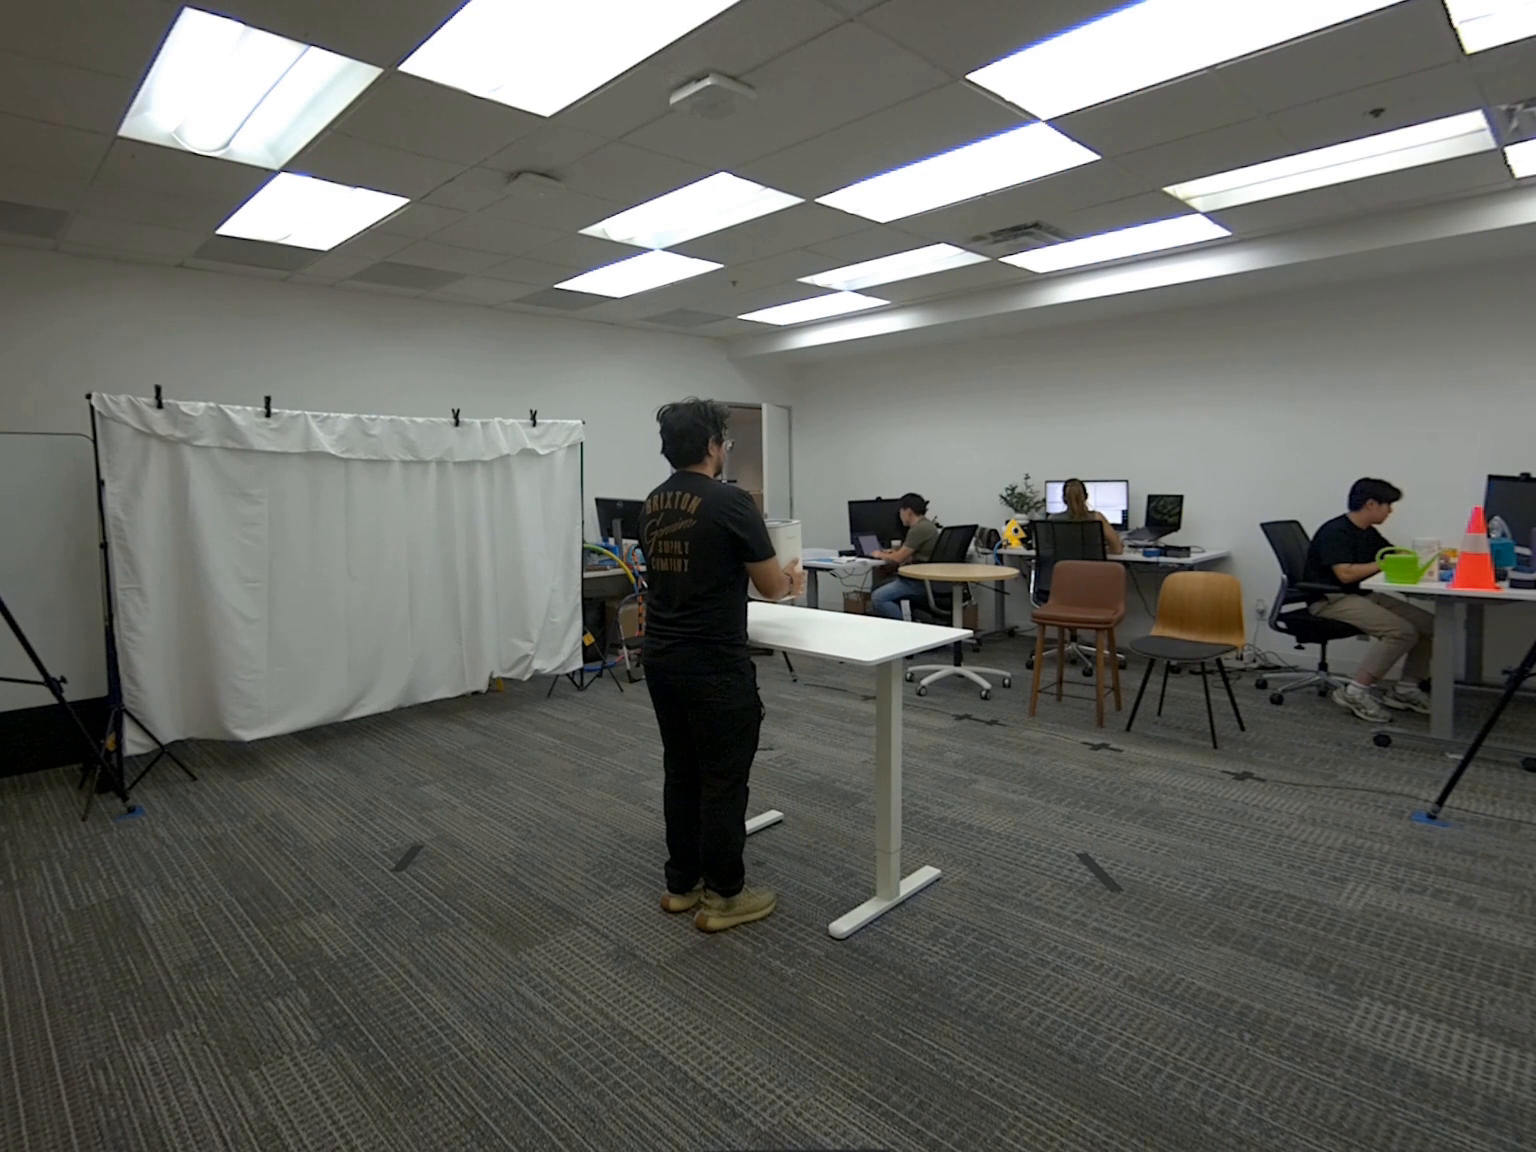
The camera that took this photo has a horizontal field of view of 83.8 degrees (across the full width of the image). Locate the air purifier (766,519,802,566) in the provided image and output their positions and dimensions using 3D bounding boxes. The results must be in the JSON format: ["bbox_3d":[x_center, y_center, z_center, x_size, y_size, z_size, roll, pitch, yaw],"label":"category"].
[{"bbox_3d":[0.022,-0.057,2.994,0.177,0.263,0.167,6,12,40],"label":"air purifier"}]
